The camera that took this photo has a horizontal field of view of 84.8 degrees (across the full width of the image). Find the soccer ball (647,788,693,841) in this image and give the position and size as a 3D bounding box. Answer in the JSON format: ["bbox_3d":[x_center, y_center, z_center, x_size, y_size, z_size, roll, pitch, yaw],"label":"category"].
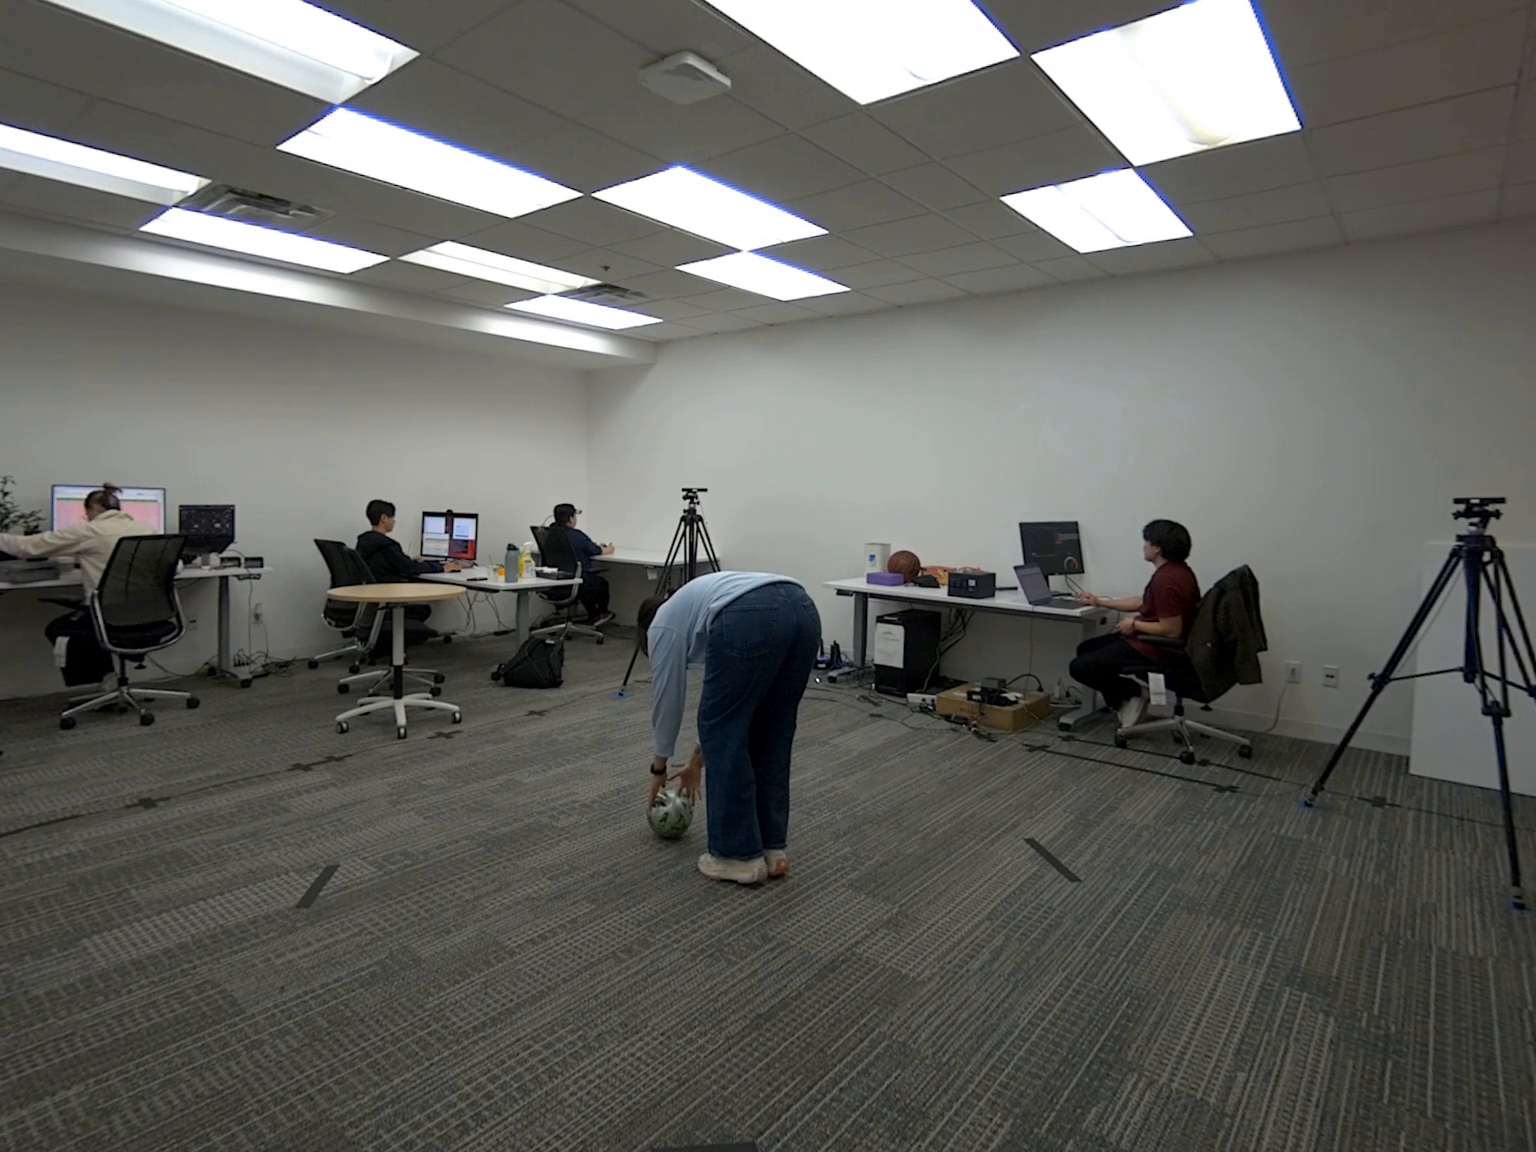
[{"bbox_3d":[-0.403,0.948,3.400,0.187,0.187,0.188,1,4,-2],"label":"soccer ball"}]
